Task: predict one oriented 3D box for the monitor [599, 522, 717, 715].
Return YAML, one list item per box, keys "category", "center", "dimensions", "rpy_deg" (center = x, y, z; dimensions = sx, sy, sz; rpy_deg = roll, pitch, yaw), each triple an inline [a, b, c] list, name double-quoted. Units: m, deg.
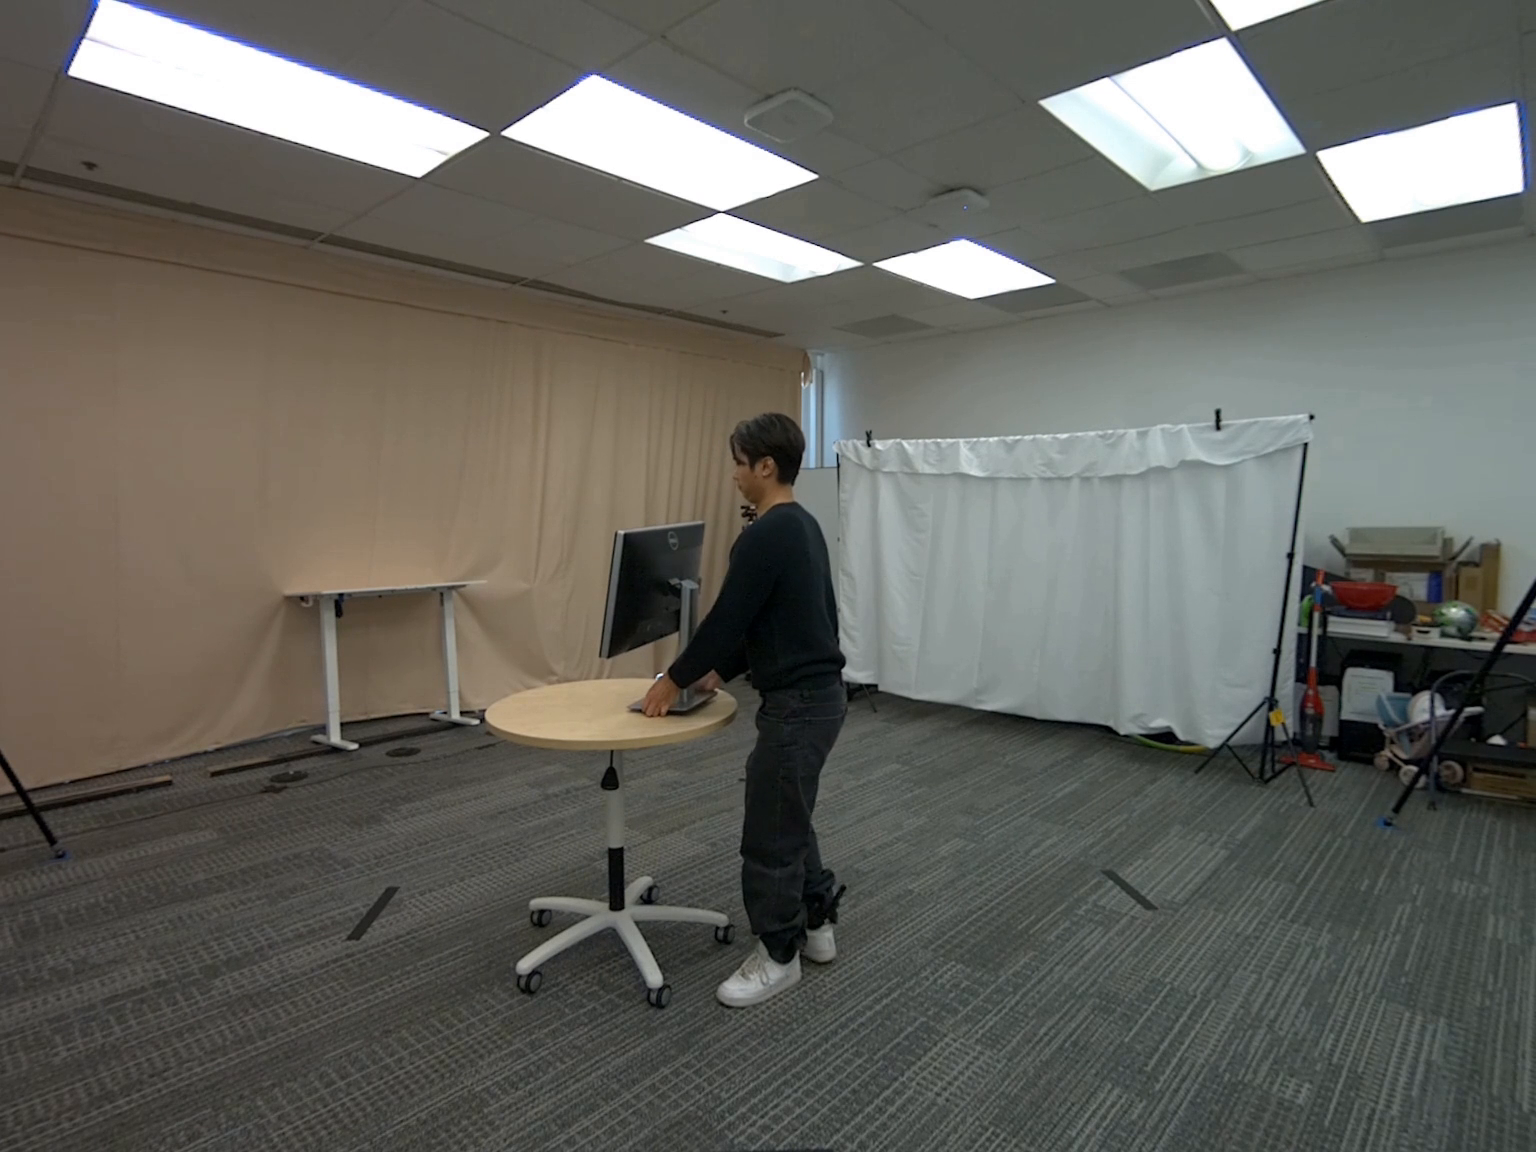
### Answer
- category: "monitor"
  center: [-0.300, 0.121, 2.566]
  dimensions: [0.191, 0.521, 0.529]
  rpy_deg: [0, 5, 20]
